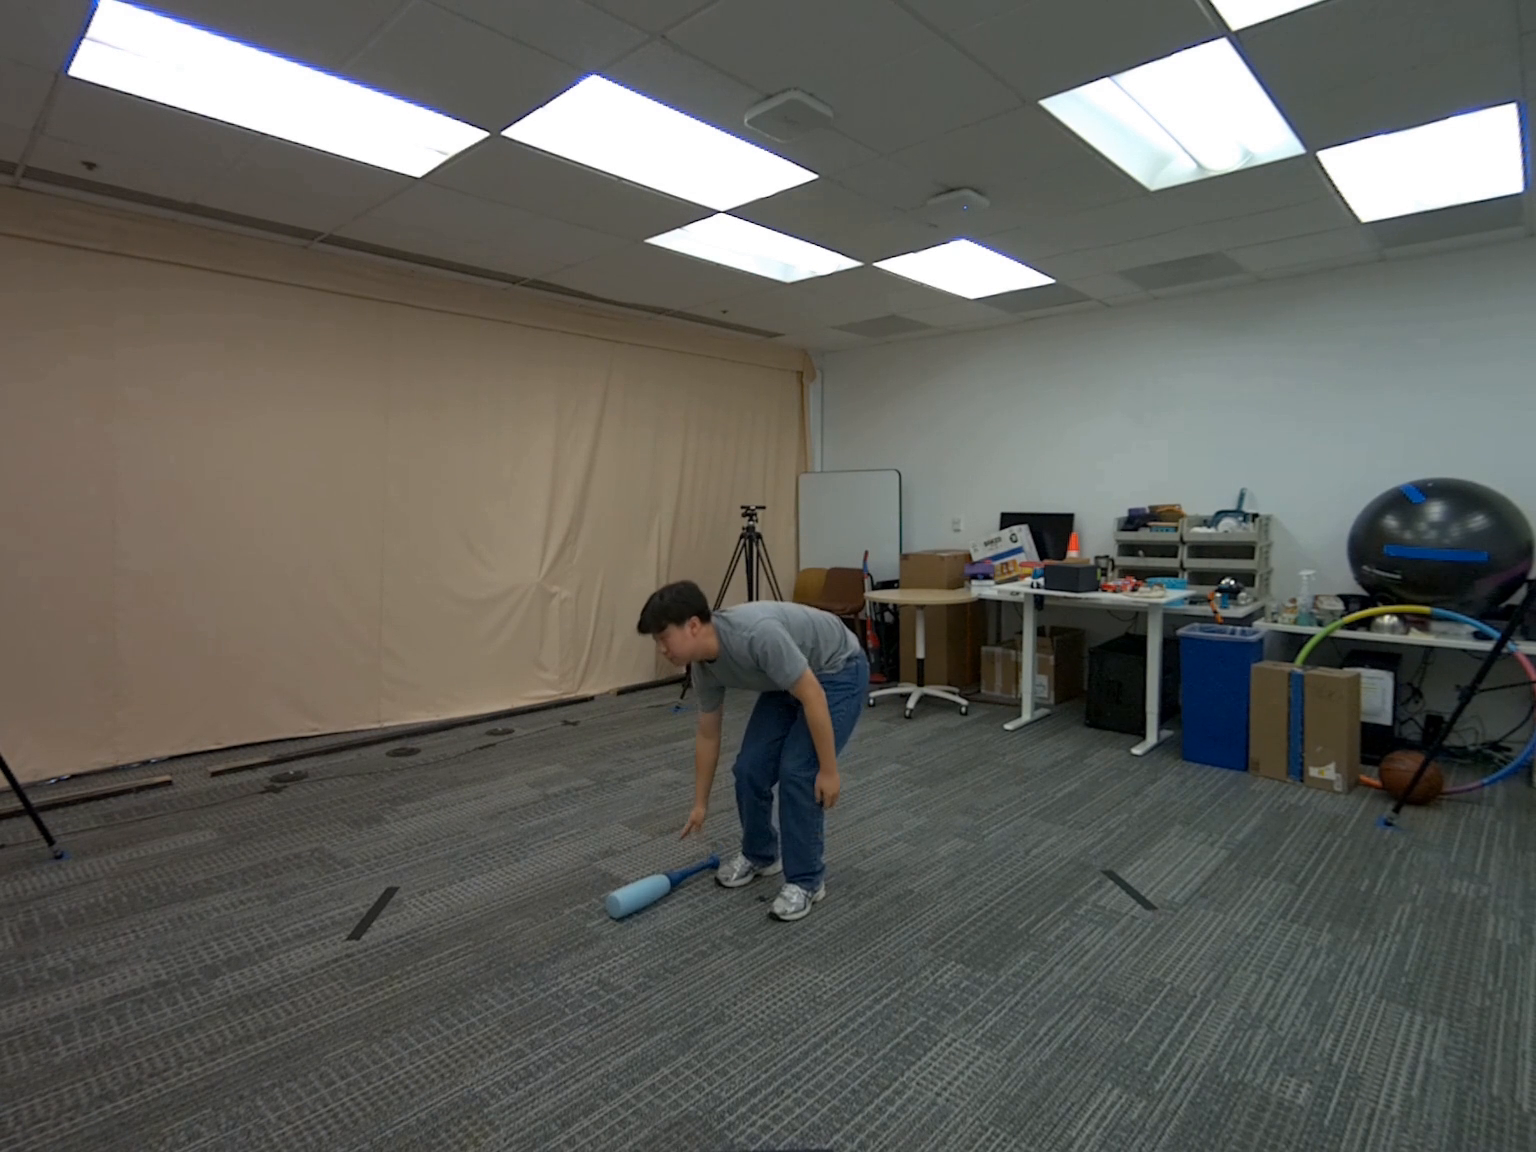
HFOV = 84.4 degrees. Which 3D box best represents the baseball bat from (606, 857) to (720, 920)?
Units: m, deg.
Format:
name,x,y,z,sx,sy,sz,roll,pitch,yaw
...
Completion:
name,x,y,z,sx,sy,sz,roll,pitch,yaw
baseball bat,-0.363,1.104,3.032,0.092,0.089,0.527,3,5,38
